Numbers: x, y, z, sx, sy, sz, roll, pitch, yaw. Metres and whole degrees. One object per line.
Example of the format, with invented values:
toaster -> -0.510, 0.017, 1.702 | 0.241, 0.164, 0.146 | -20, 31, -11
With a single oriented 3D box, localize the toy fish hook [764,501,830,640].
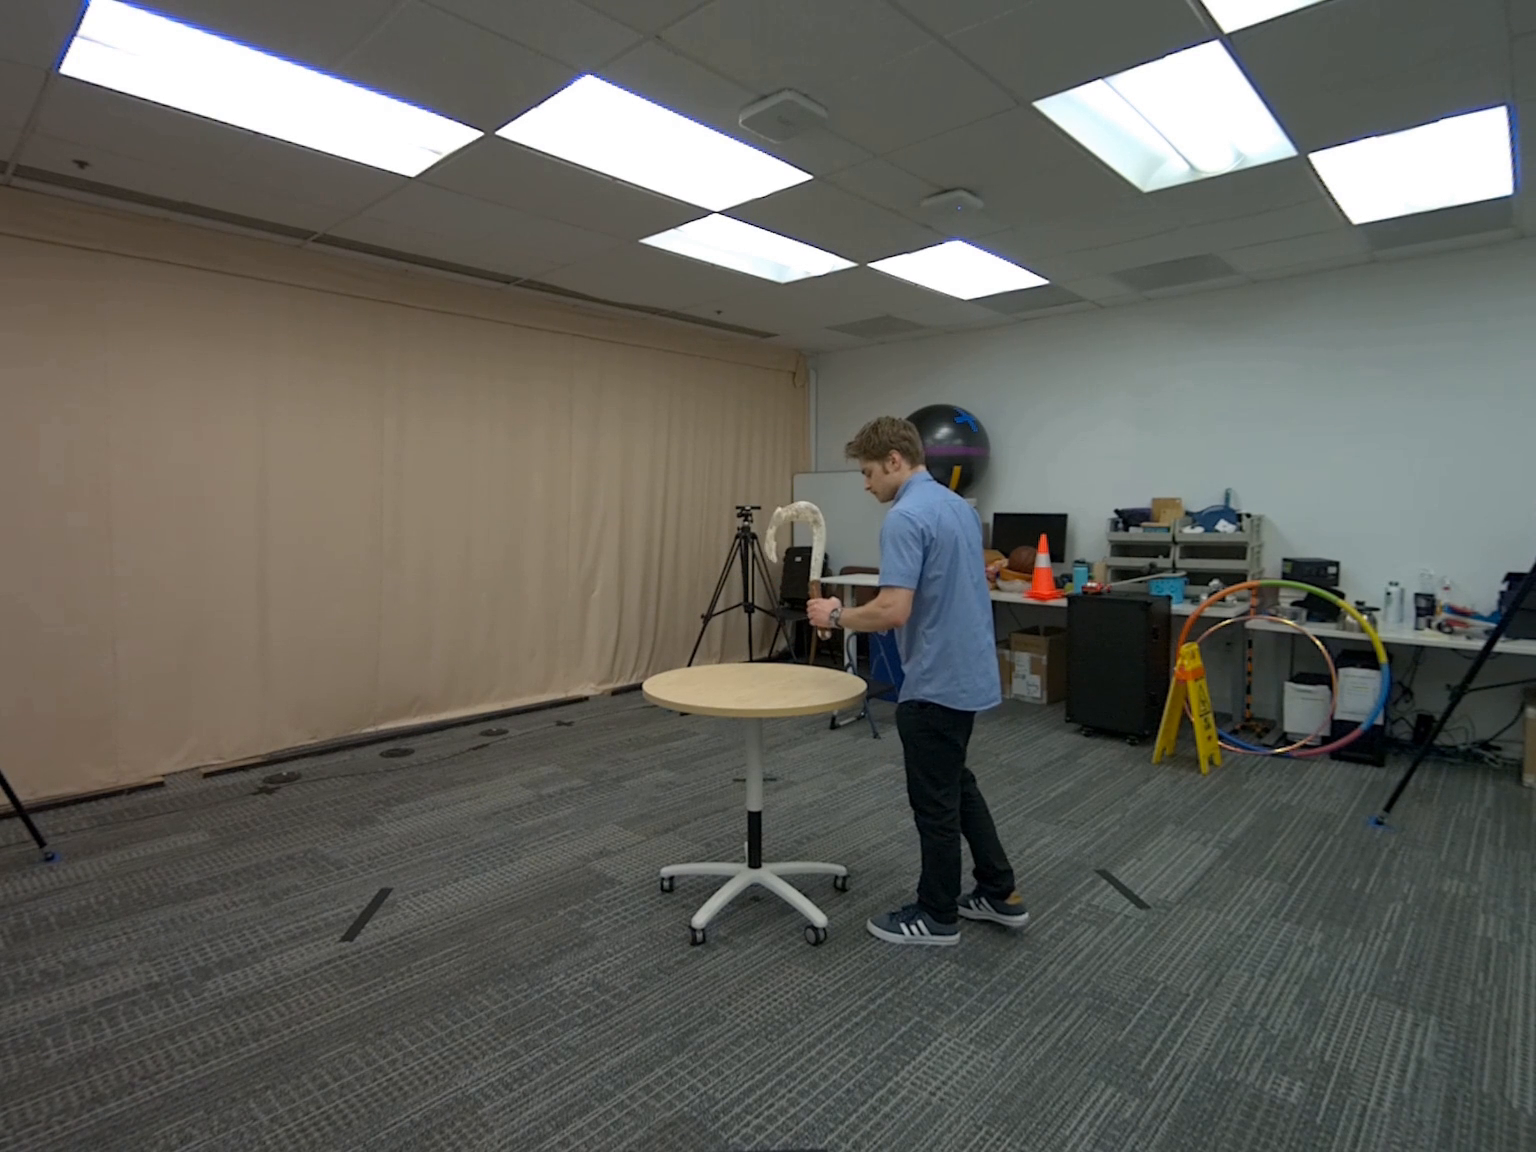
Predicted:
toy fish hook -> 0.118, -0.010, 2.841 | 0.229, 0.515, 0.046 | -18, -25, 24
